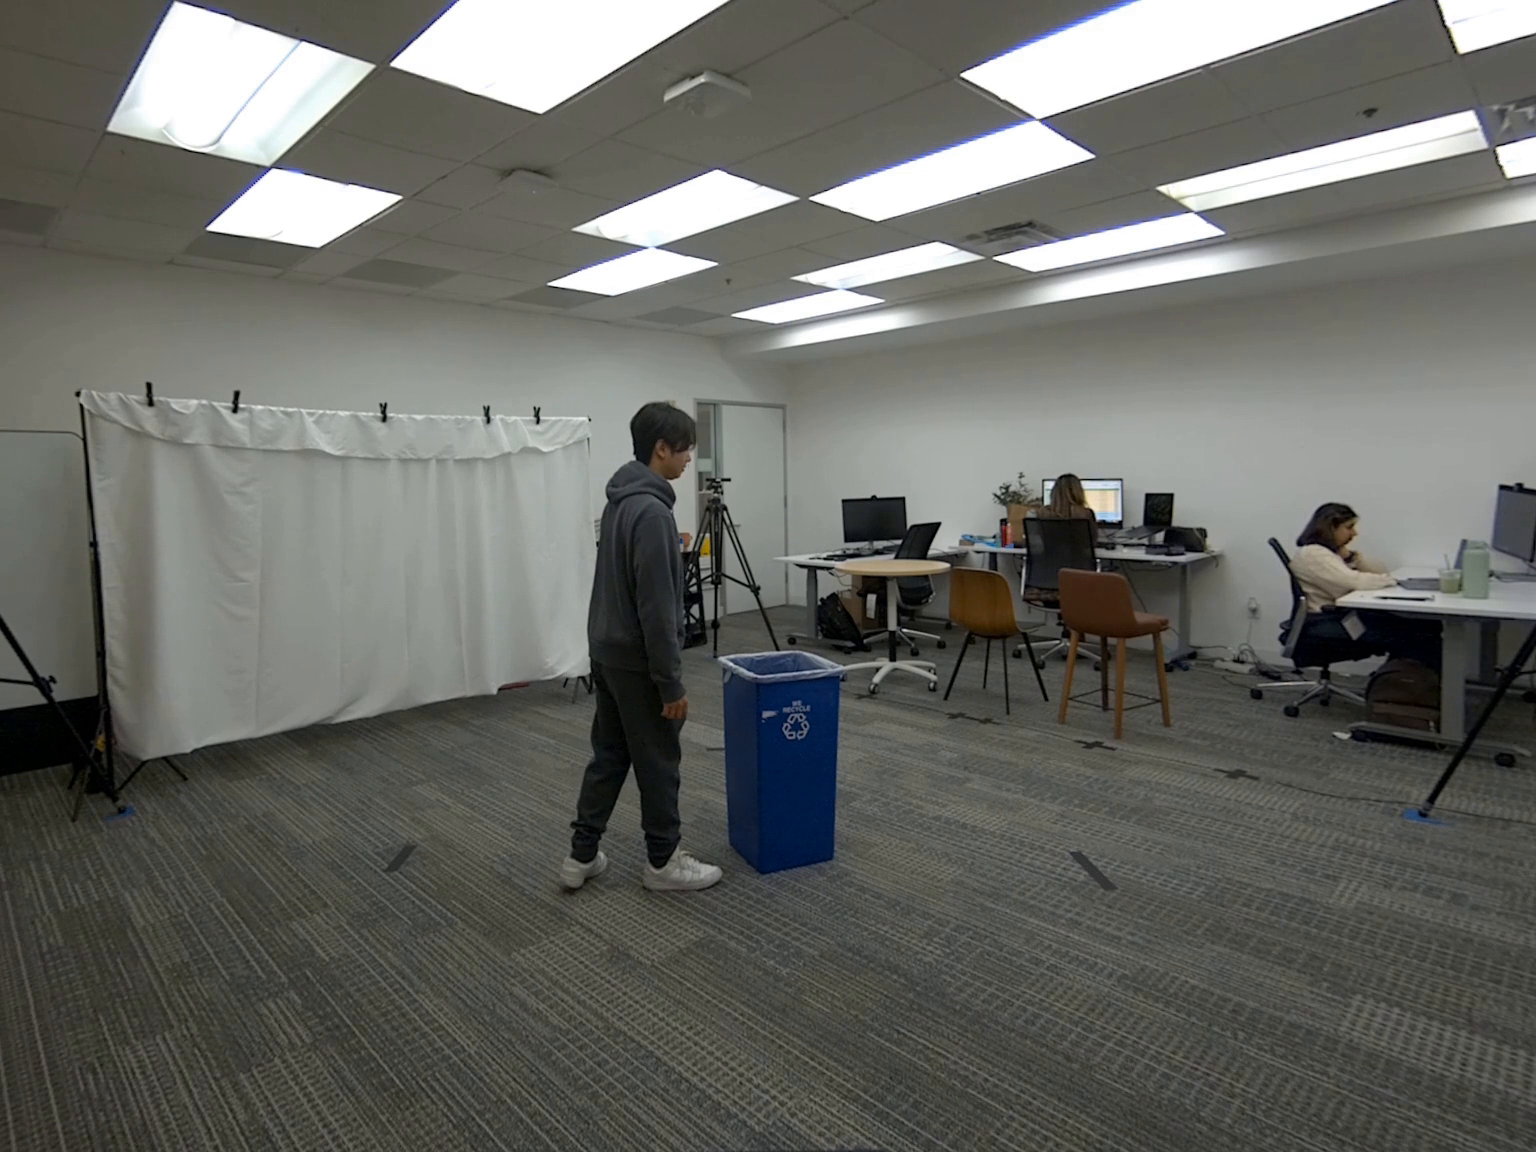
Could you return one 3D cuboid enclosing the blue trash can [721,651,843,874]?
[{"bbox_3d":[0.048,0.673,3.187,0.366,0.710,0.387,-3,5,-24],"label":"blue trash can"}]
